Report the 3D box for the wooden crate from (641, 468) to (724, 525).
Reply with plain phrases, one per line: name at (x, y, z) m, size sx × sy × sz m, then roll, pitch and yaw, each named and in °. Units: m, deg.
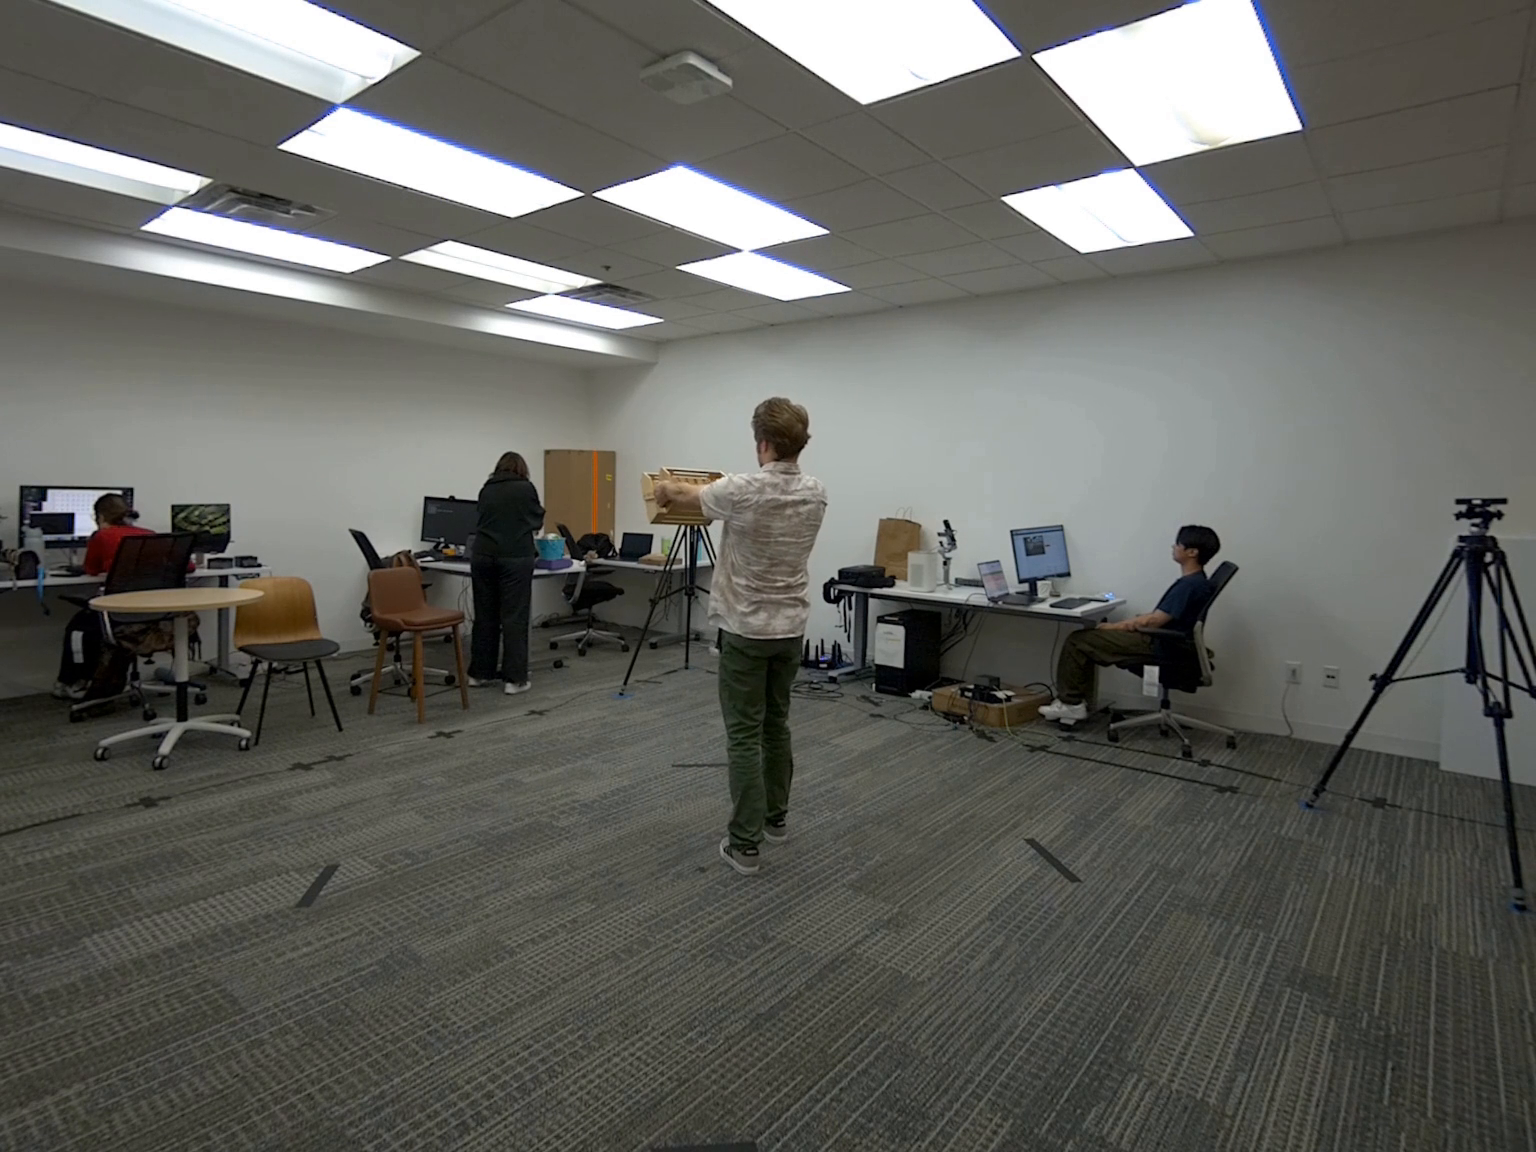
wooden crate at (-0.370, -0.386, 3.800) m, size 0.316 × 0.311 × 0.273 m, roll 1°, pitch -31°, yaw -29°
